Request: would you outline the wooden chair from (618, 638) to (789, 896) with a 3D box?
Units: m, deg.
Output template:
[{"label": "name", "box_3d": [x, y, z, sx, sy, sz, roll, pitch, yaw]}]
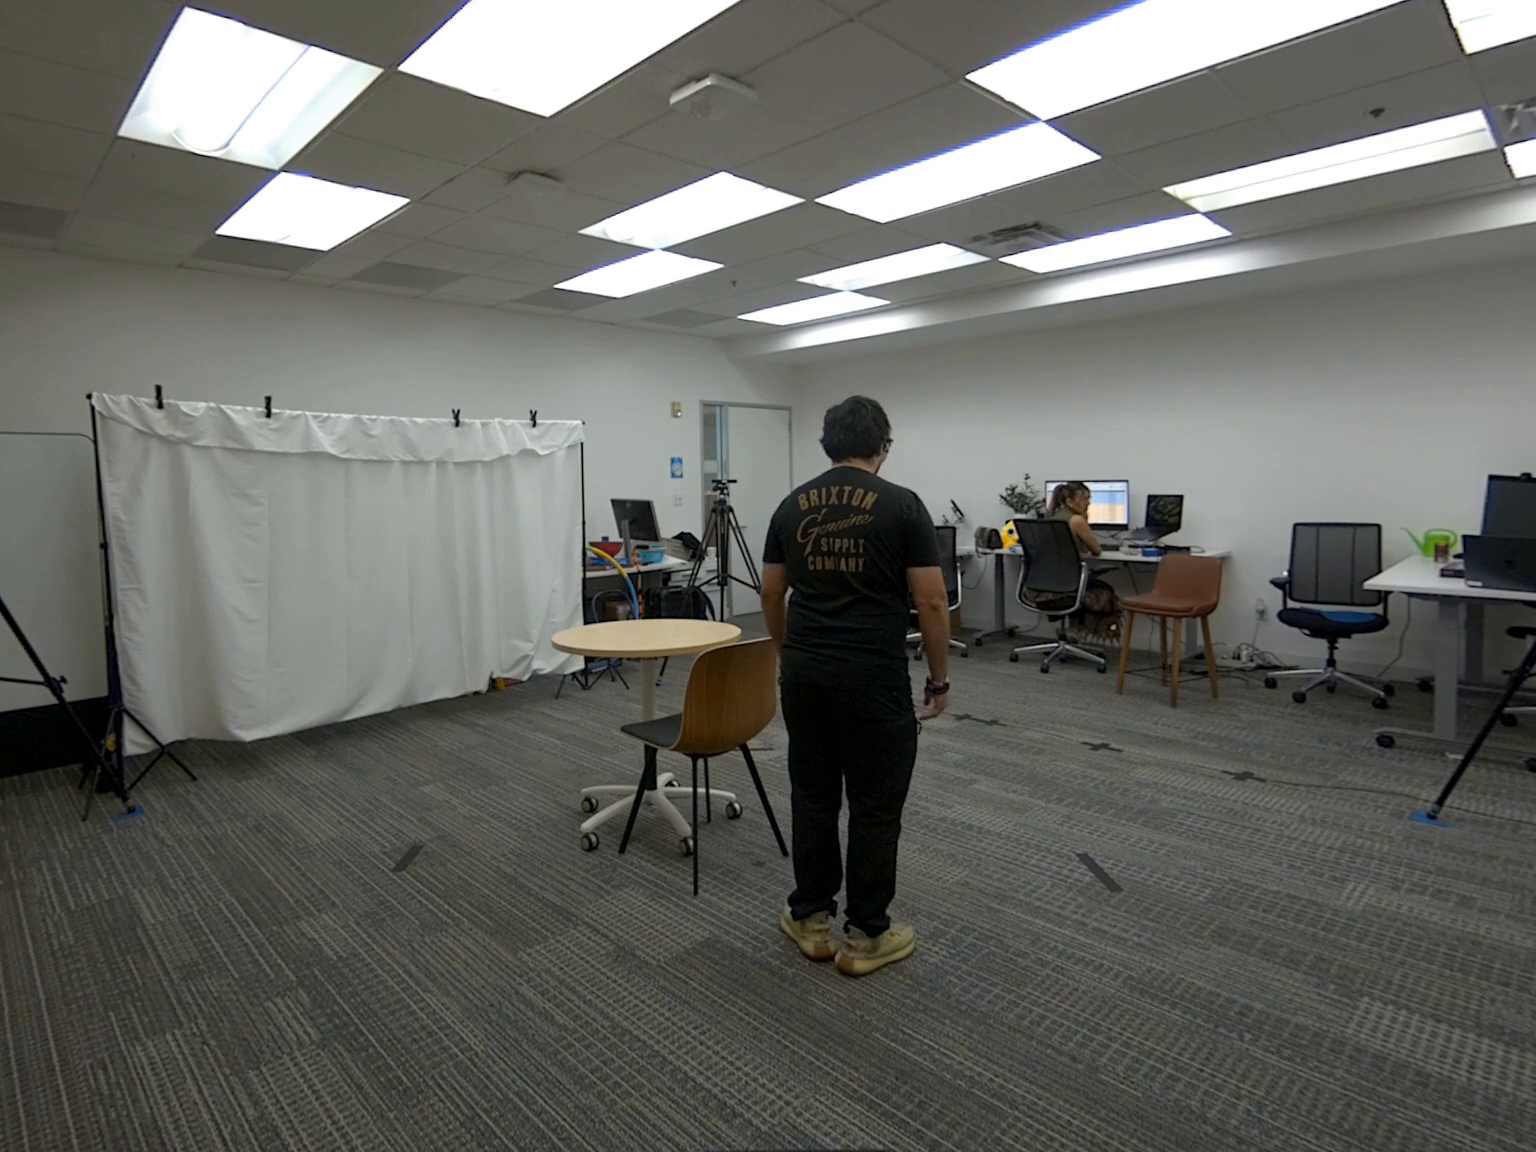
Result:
[{"label": "wooden chair", "box_3d": [-0.249, 0.616, 3.167, 0.465, 0.872, 0.540, -5, 10, -42]}]
